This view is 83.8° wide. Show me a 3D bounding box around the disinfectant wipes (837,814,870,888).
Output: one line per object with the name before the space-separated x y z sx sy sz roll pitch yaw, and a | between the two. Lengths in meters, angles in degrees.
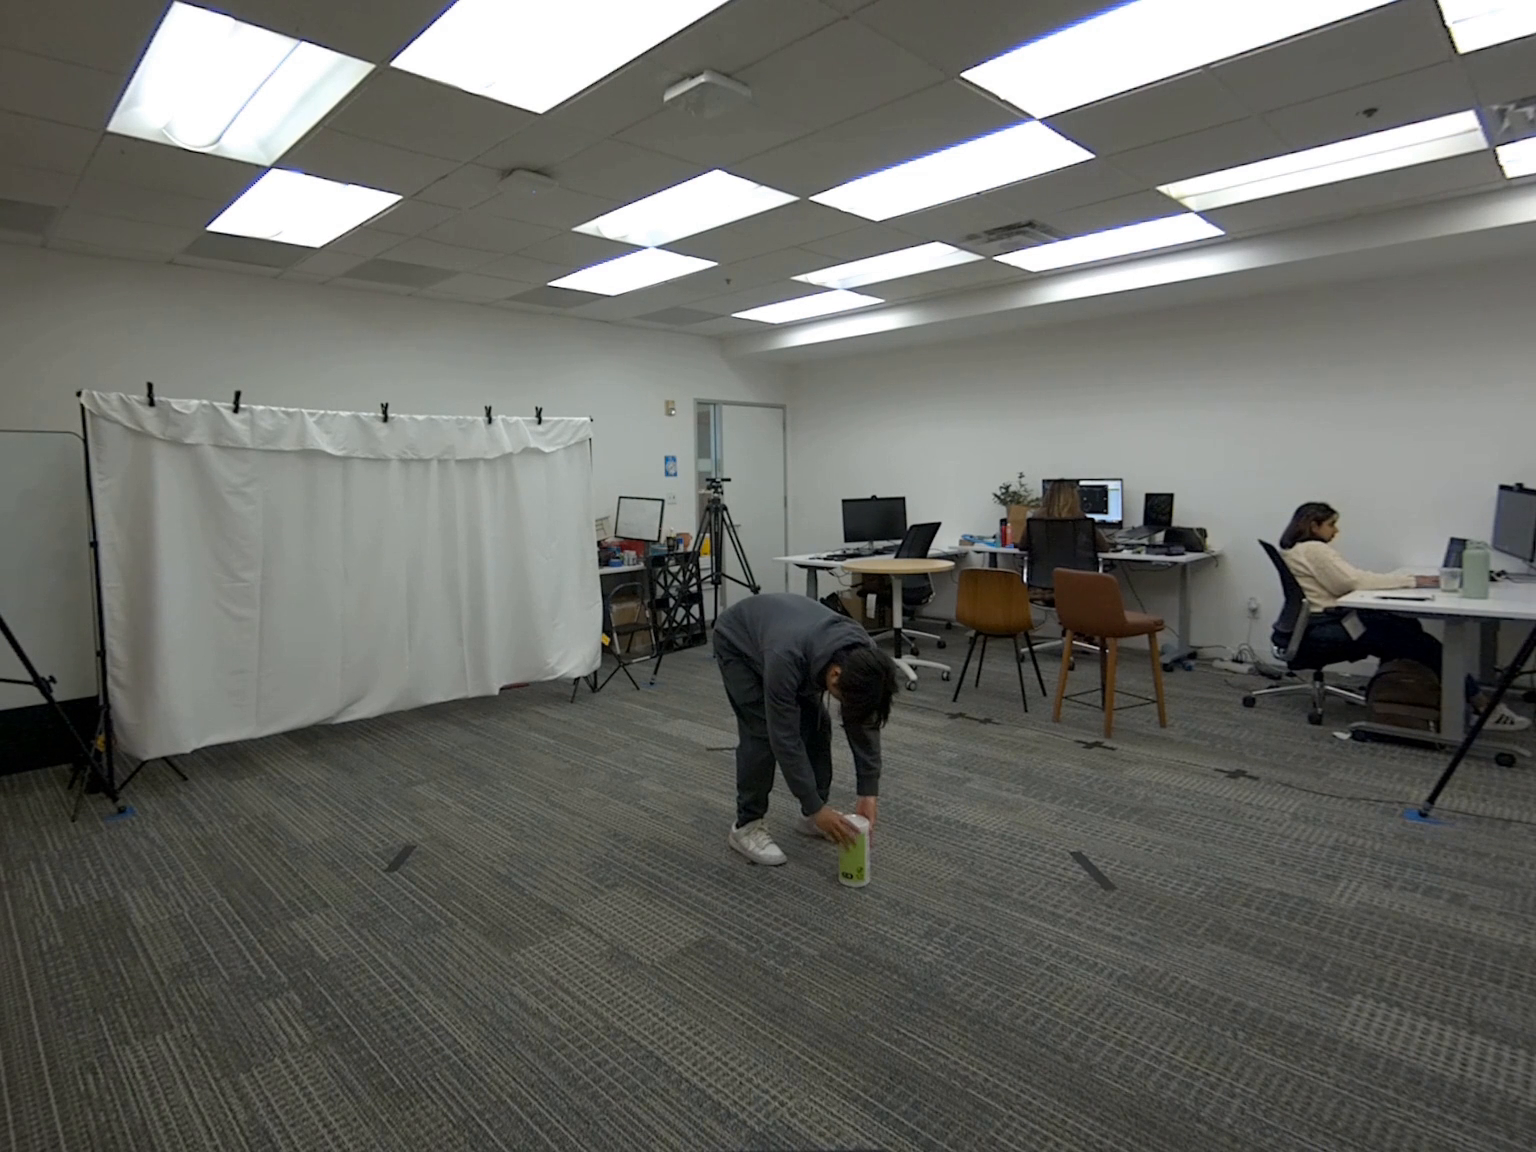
disinfectant wipes | 0.298 0.953 2.955 0.118 0.216 0.118 -2 5 -1
